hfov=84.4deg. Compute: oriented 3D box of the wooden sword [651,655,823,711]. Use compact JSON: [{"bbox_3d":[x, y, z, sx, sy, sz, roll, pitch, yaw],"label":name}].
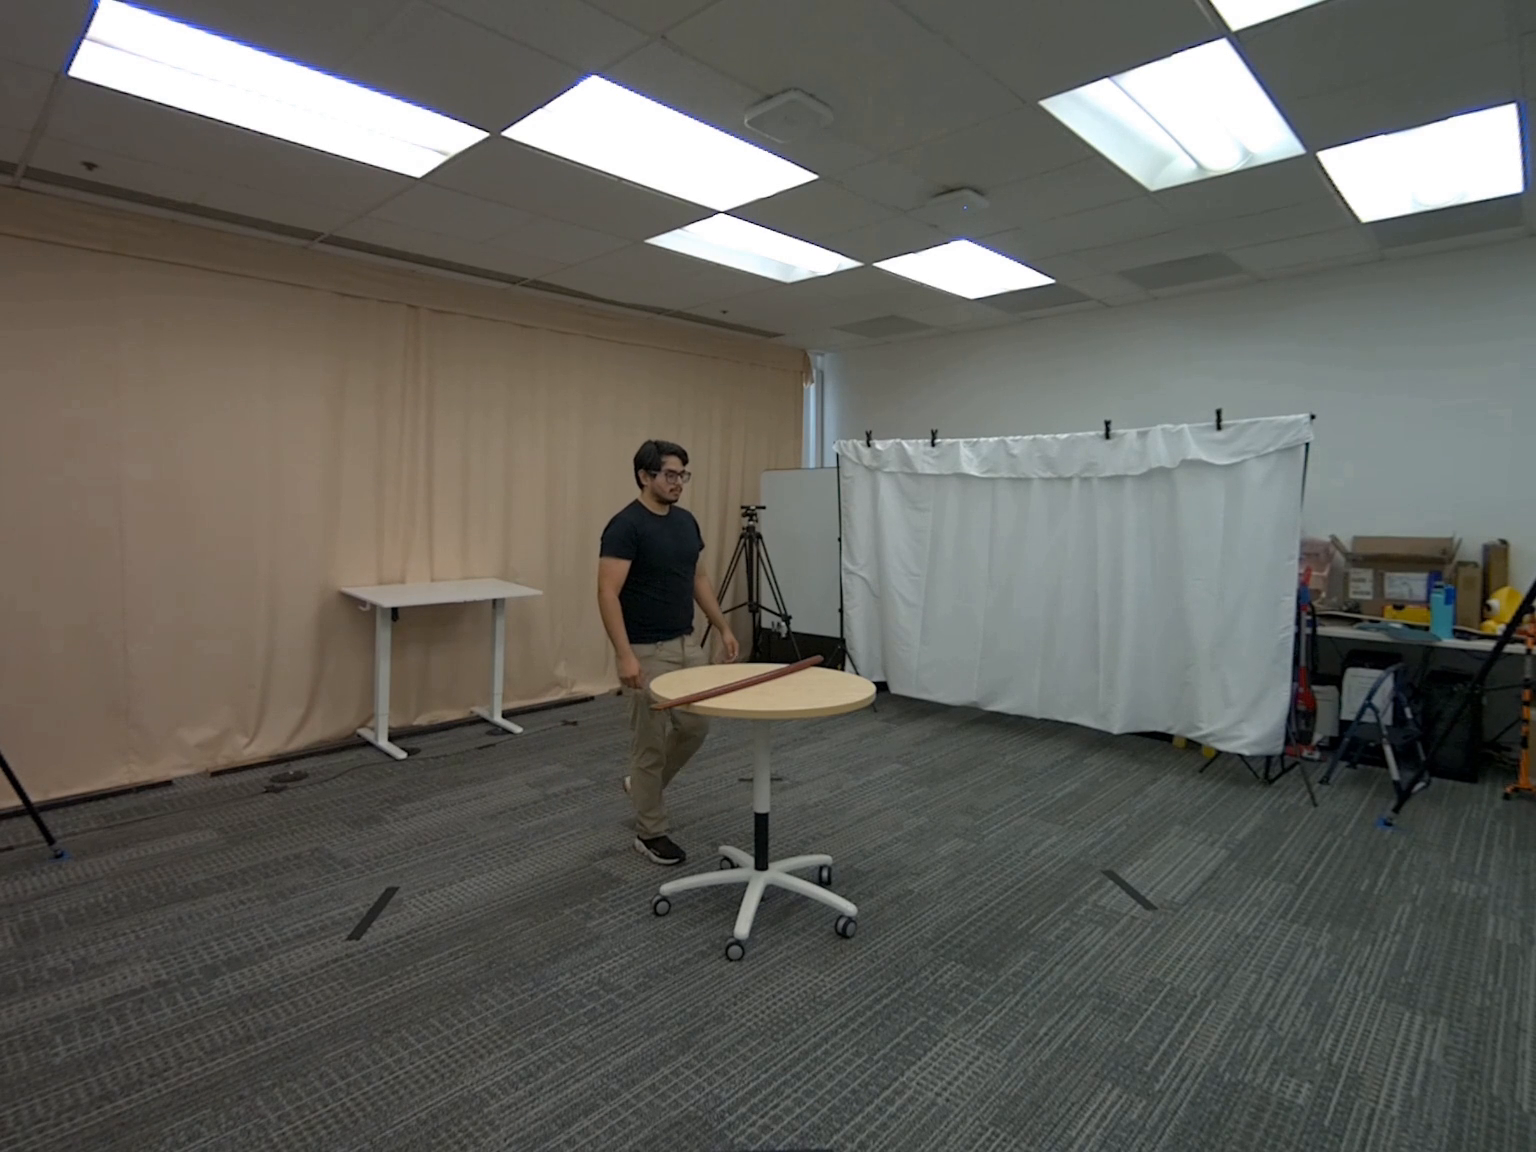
[{"bbox_3d":[-0.051,0.355,2.889,0.052,0.024,0.998,-18,-4,30],"label":"wooden sword"}]
